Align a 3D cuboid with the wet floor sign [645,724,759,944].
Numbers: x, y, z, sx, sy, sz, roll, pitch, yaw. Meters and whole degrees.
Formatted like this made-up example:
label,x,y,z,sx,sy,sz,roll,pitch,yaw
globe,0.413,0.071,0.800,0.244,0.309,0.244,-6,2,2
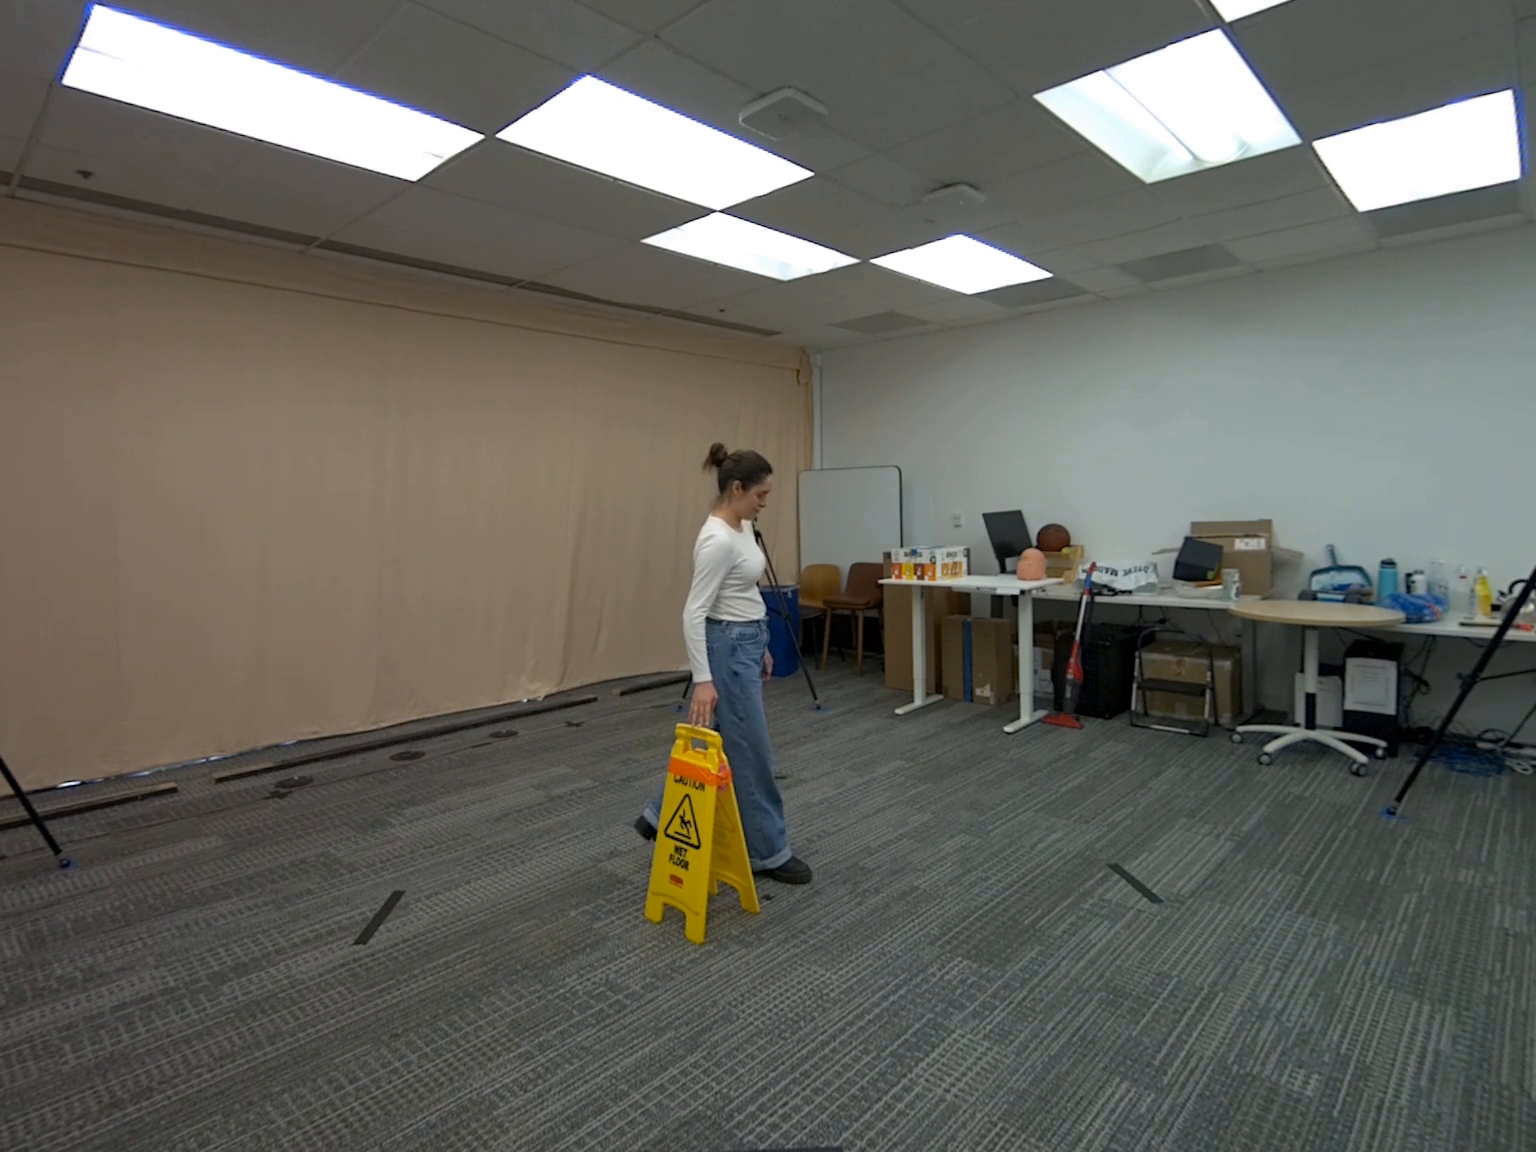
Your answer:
label,x,y,z,sx,sy,sz,roll,pitch,yaw
wet floor sign,-0.229,0.827,2.844,0.291,0.644,0.281,2,5,43
